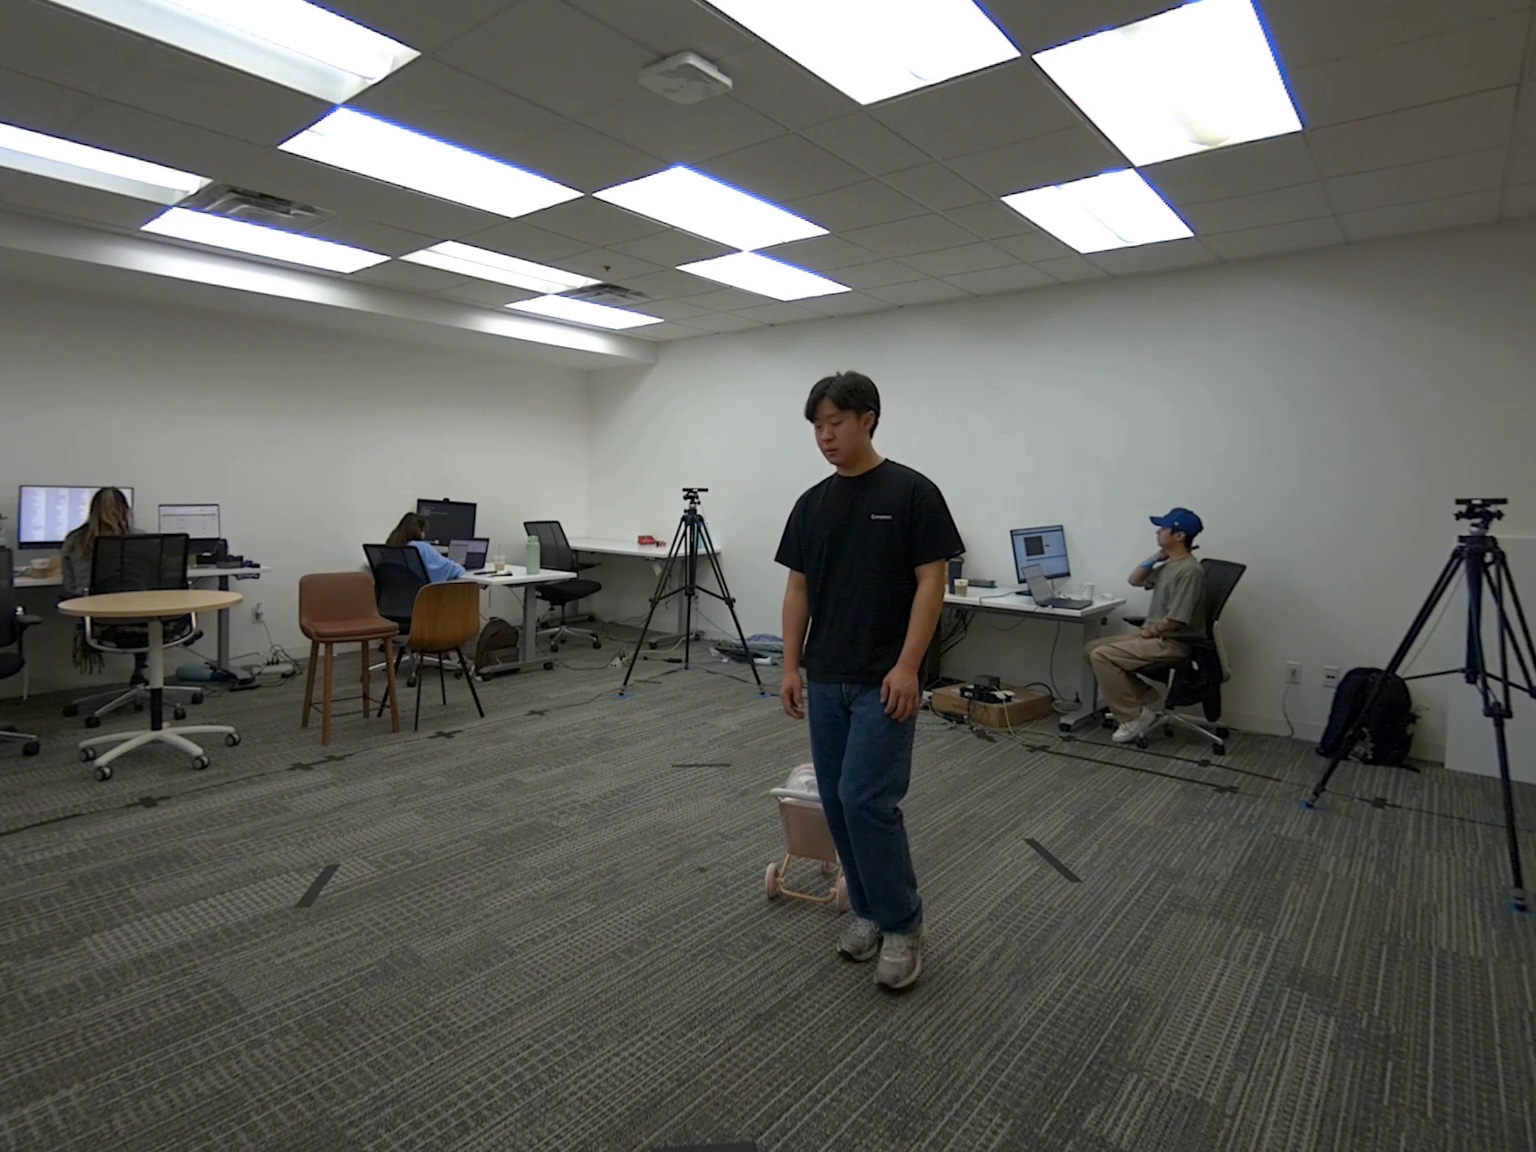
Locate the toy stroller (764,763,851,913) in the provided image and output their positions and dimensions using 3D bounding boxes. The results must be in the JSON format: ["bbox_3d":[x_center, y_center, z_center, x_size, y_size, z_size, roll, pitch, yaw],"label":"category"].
[{"bbox_3d":[0.150,0.872,2.920,0.288,0.525,0.339,4,20,23],"label":"toy stroller"}]
